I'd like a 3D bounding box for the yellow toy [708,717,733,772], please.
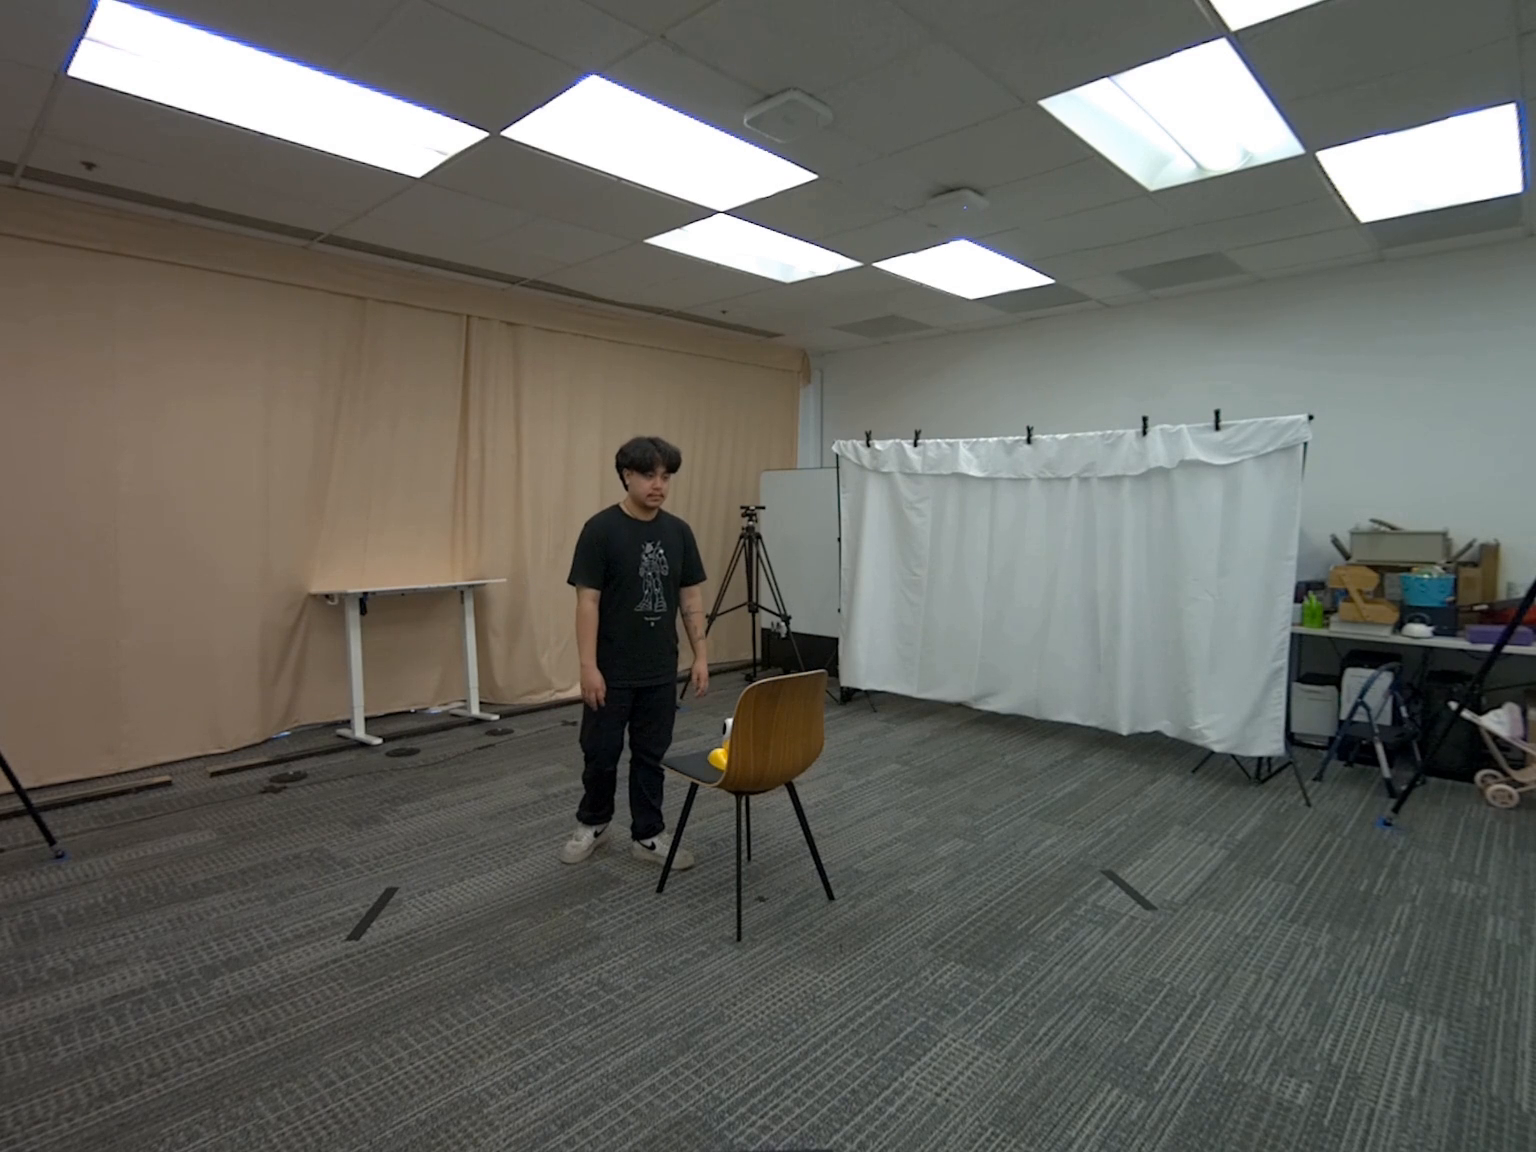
[{"bbox_3d":[-0.093,0.552,2.990,0.198,0.229,0.200,-4,10,-41],"label":"yellow toy"}]
